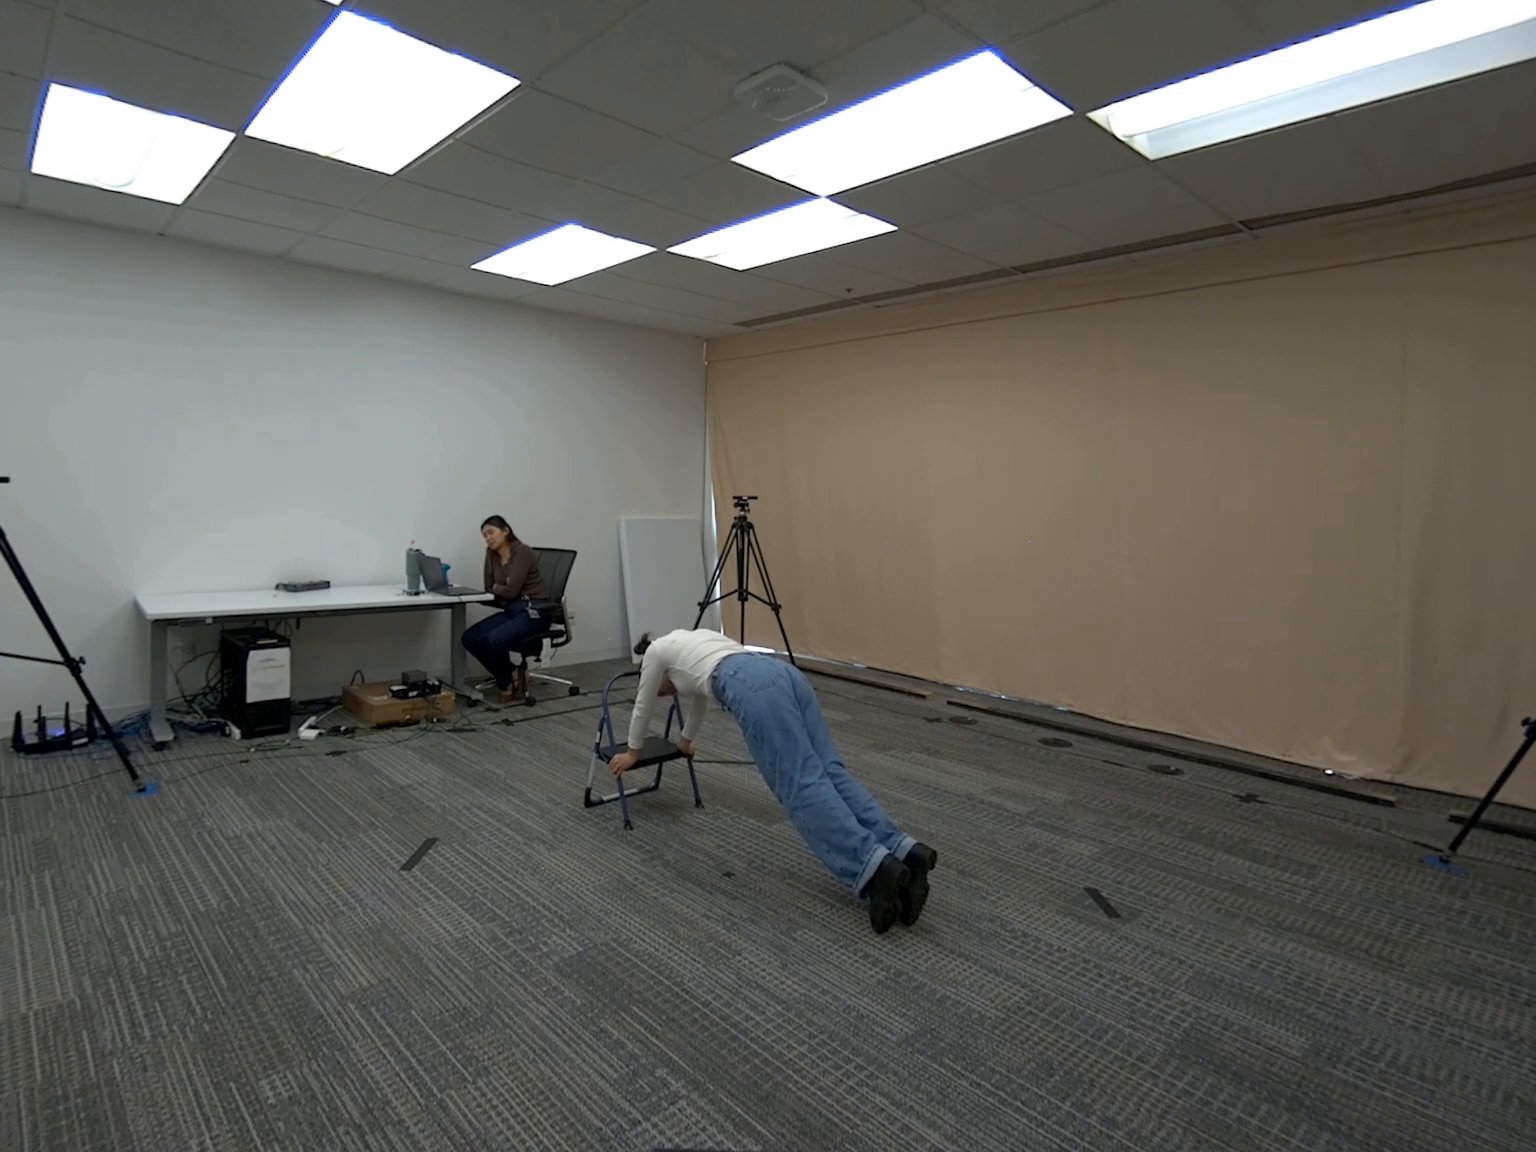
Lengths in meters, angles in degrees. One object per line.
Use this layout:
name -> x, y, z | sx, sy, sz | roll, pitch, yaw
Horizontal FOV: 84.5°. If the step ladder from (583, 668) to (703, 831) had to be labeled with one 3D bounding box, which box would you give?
step ladder -> -0.558, 0.736, 3.754 | 0.358, 0.605, 0.421 | 5, 5, 45
